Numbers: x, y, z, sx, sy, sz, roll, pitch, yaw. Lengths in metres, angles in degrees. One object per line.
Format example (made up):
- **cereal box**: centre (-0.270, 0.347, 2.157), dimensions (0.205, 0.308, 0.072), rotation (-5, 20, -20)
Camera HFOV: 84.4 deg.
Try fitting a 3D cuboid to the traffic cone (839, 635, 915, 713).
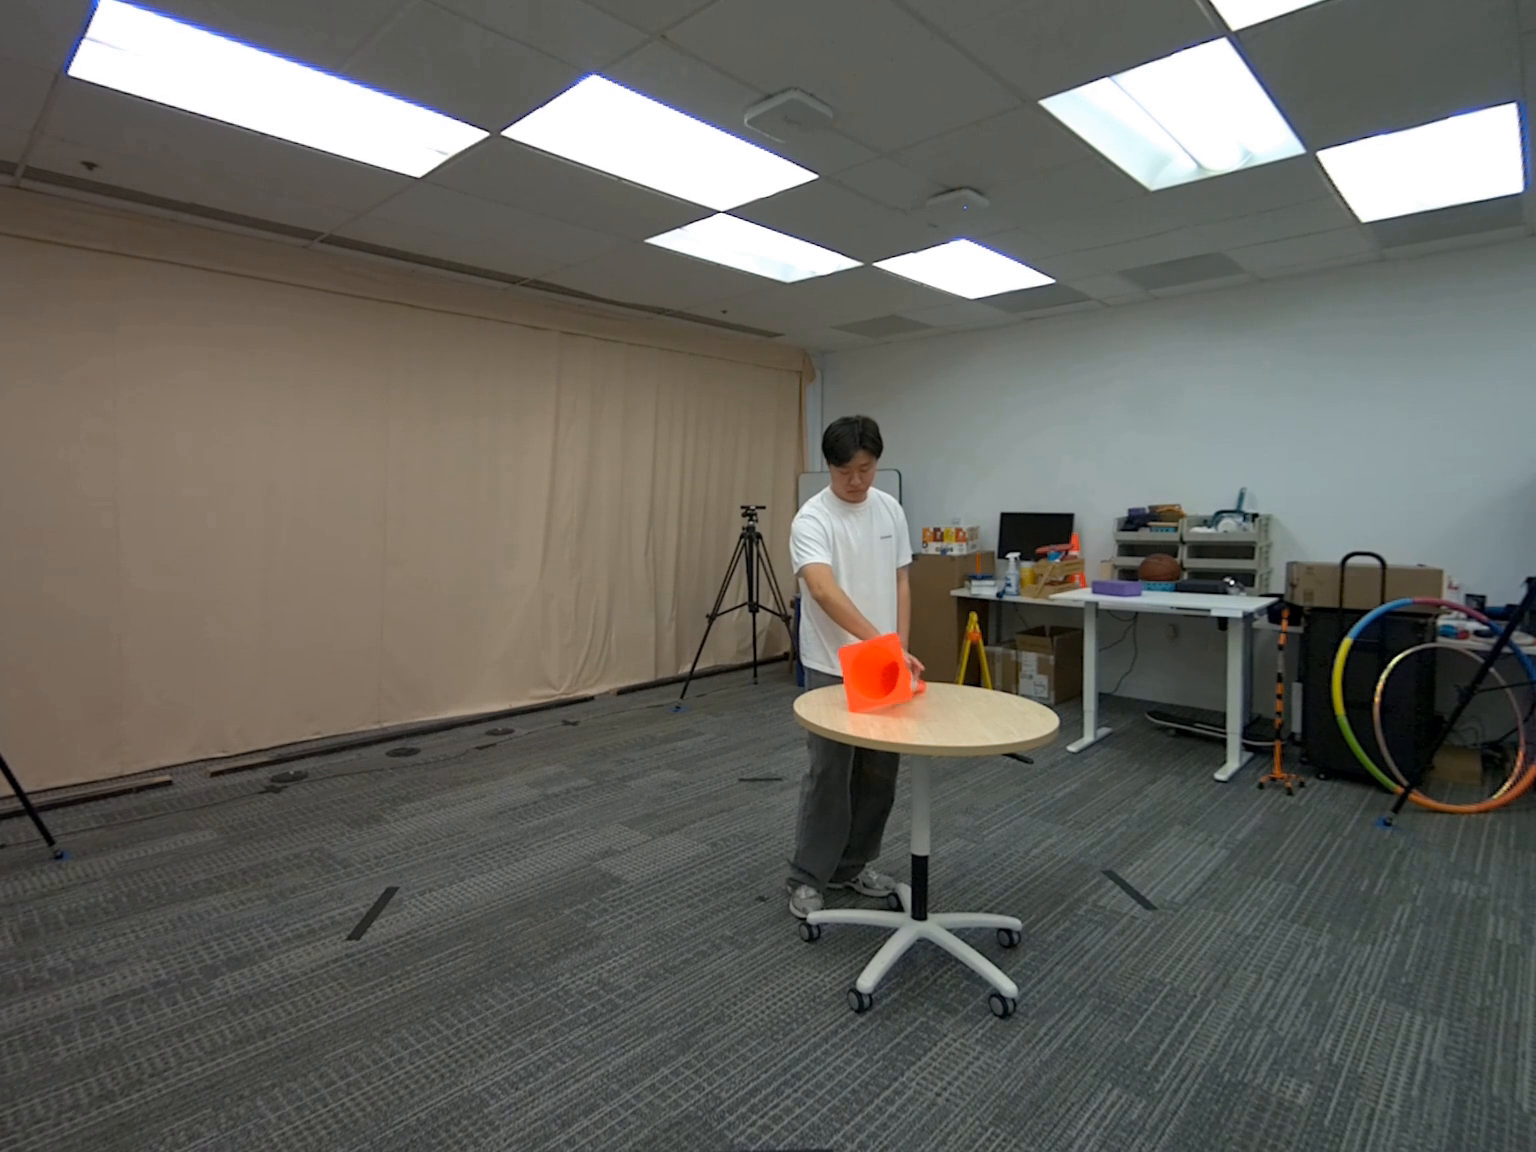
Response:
- **traffic cone**: centre (0.409, 0.320, 2.616), dimensions (0.209, 0.206, 0.370), rotation (-20, -21, 28)
